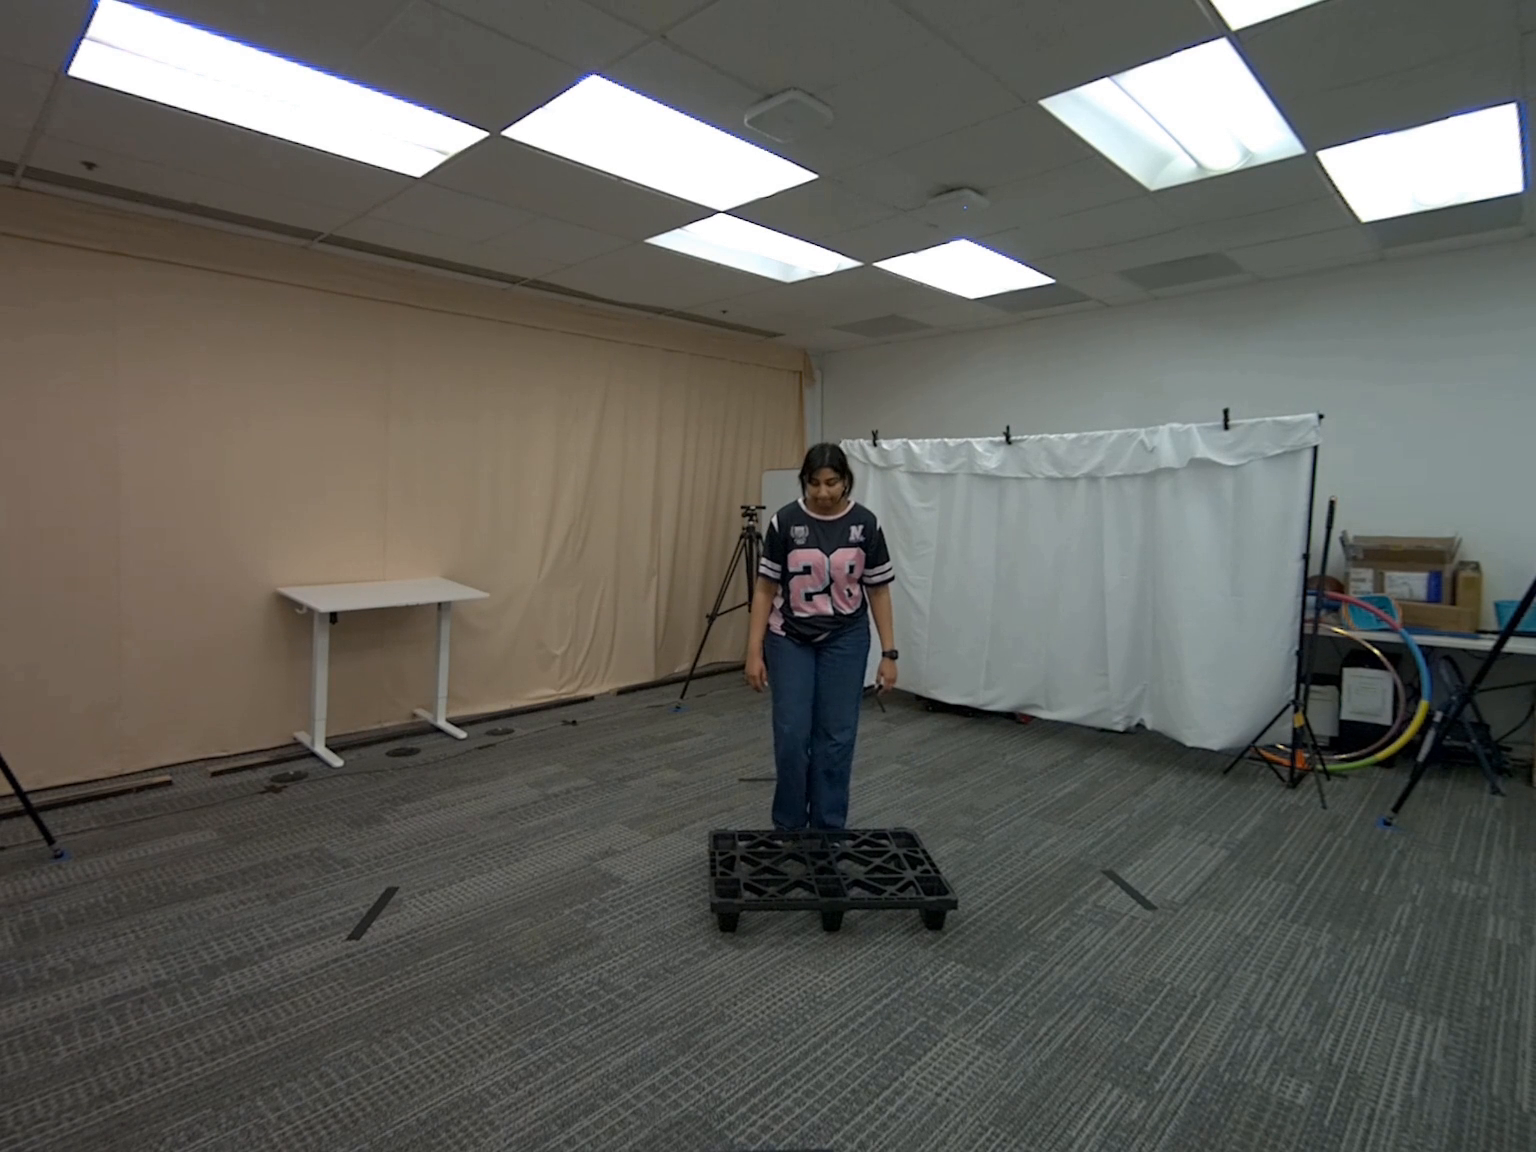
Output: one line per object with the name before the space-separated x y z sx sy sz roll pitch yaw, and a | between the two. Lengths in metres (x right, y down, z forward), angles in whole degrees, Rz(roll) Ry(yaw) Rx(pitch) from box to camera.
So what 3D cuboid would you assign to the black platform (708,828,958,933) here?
black platform | 0.196 1.075 2.979 0.804 0.143 0.608 0 5 -2
